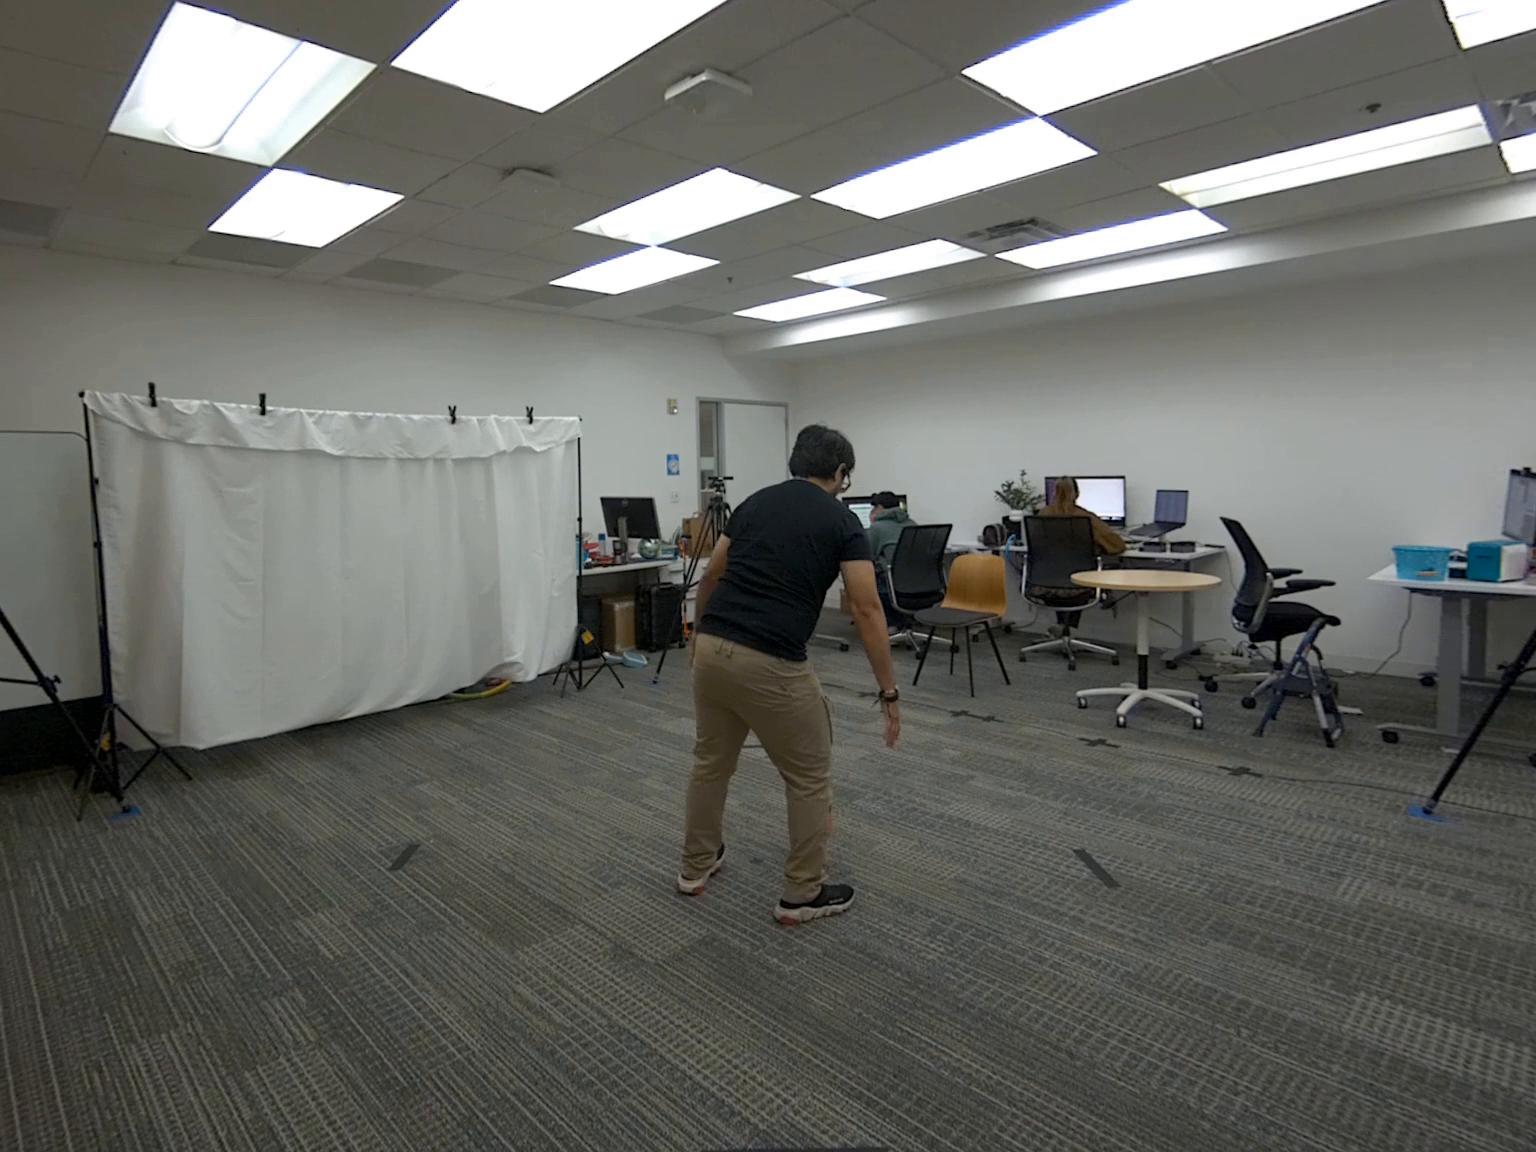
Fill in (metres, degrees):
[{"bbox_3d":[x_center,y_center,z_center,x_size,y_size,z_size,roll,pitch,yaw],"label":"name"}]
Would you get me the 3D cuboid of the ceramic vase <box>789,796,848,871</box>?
[{"bbox_3d":[0.181,0.924,3.093,0.155,0.219,0.138,-3,5,-34],"label":"ceramic vase"}]
